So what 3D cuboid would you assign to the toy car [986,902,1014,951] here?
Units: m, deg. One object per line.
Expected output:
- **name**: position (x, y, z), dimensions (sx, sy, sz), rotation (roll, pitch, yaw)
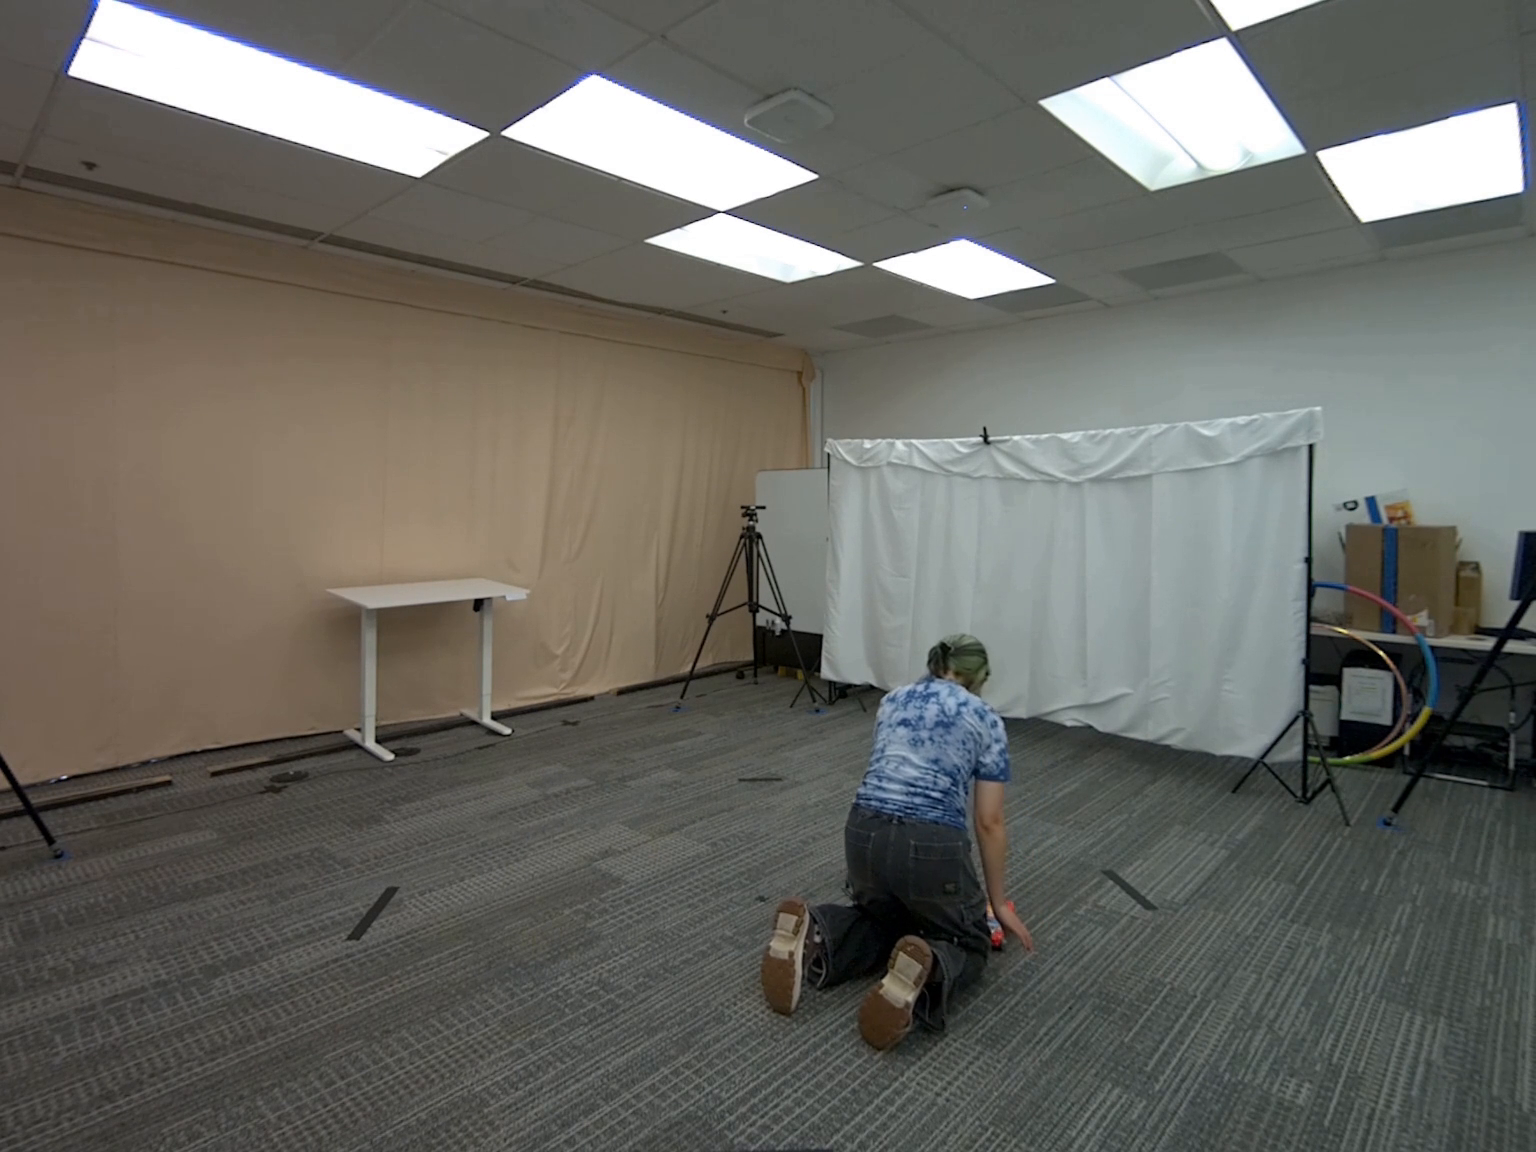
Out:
- **toy car**: position (0.752, 1.134, 2.742), dimensions (0.134, 0.082, 0.250), rotation (3, 18, 30)
